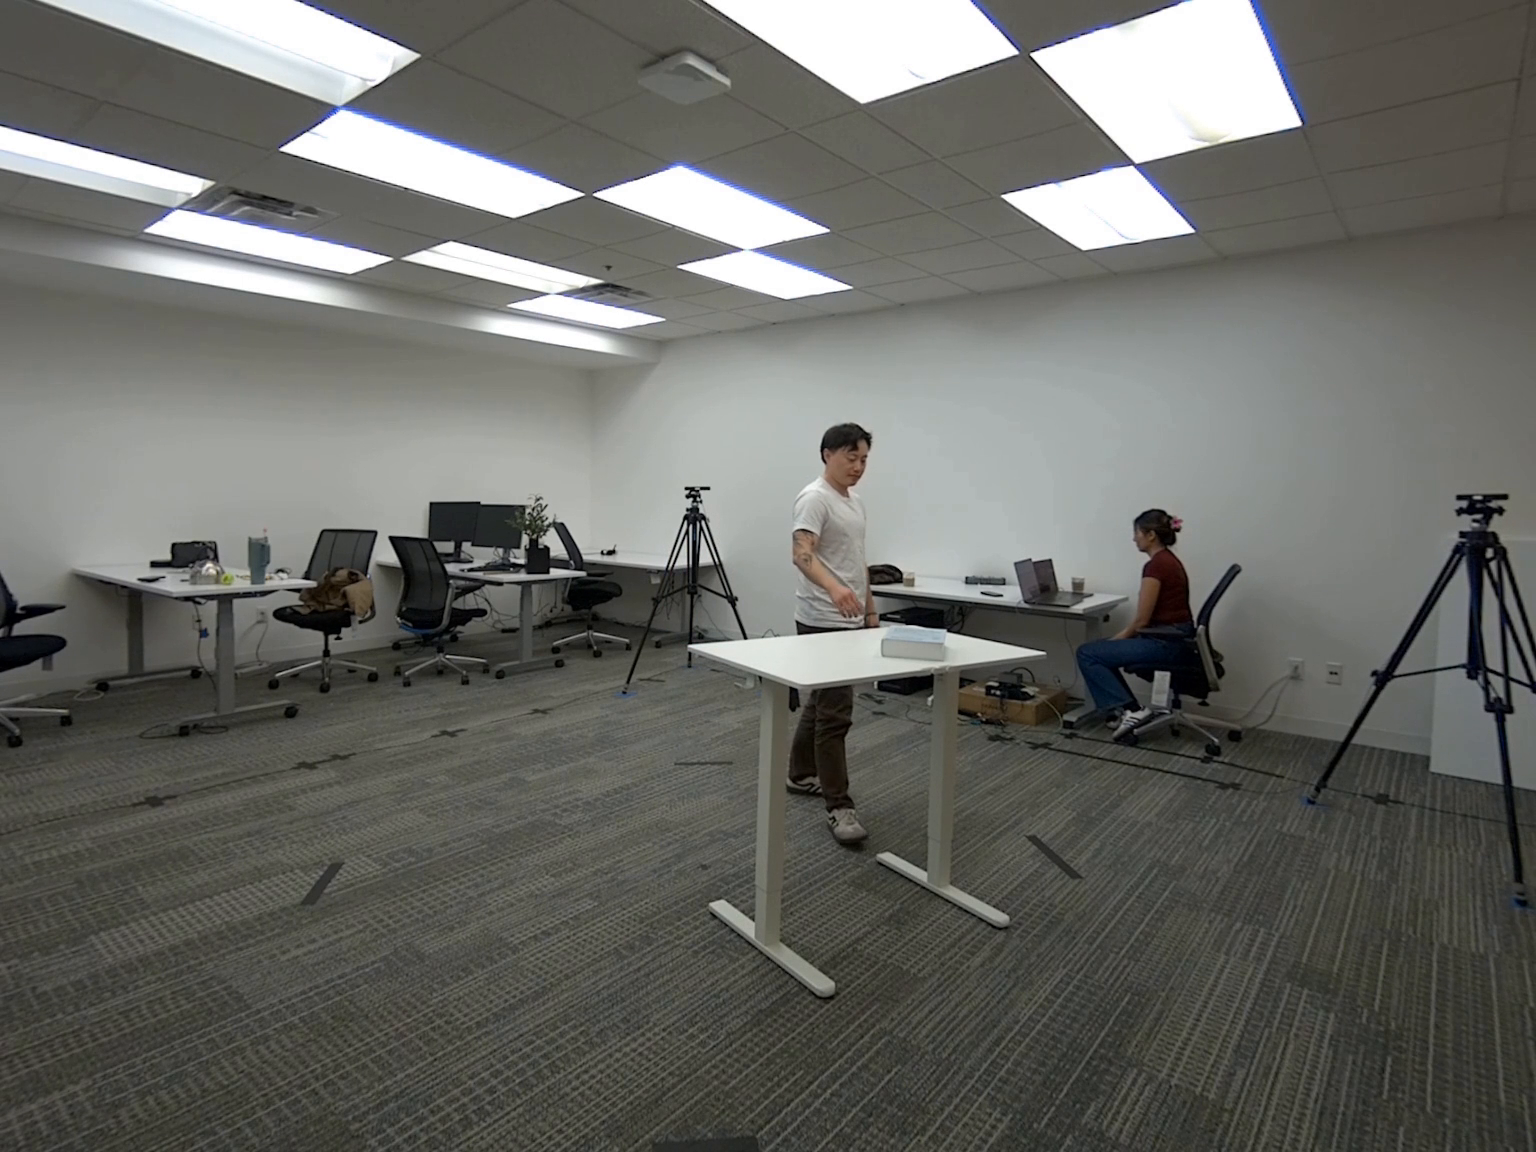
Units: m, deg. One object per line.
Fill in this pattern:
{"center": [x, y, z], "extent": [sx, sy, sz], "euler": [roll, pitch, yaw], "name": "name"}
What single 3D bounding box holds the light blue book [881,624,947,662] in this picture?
{"center": [0.478, 0.209, 2.718], "extent": [0.194, 0.059, 0.258], "euler": [2, 6, 13], "name": "light blue book"}
